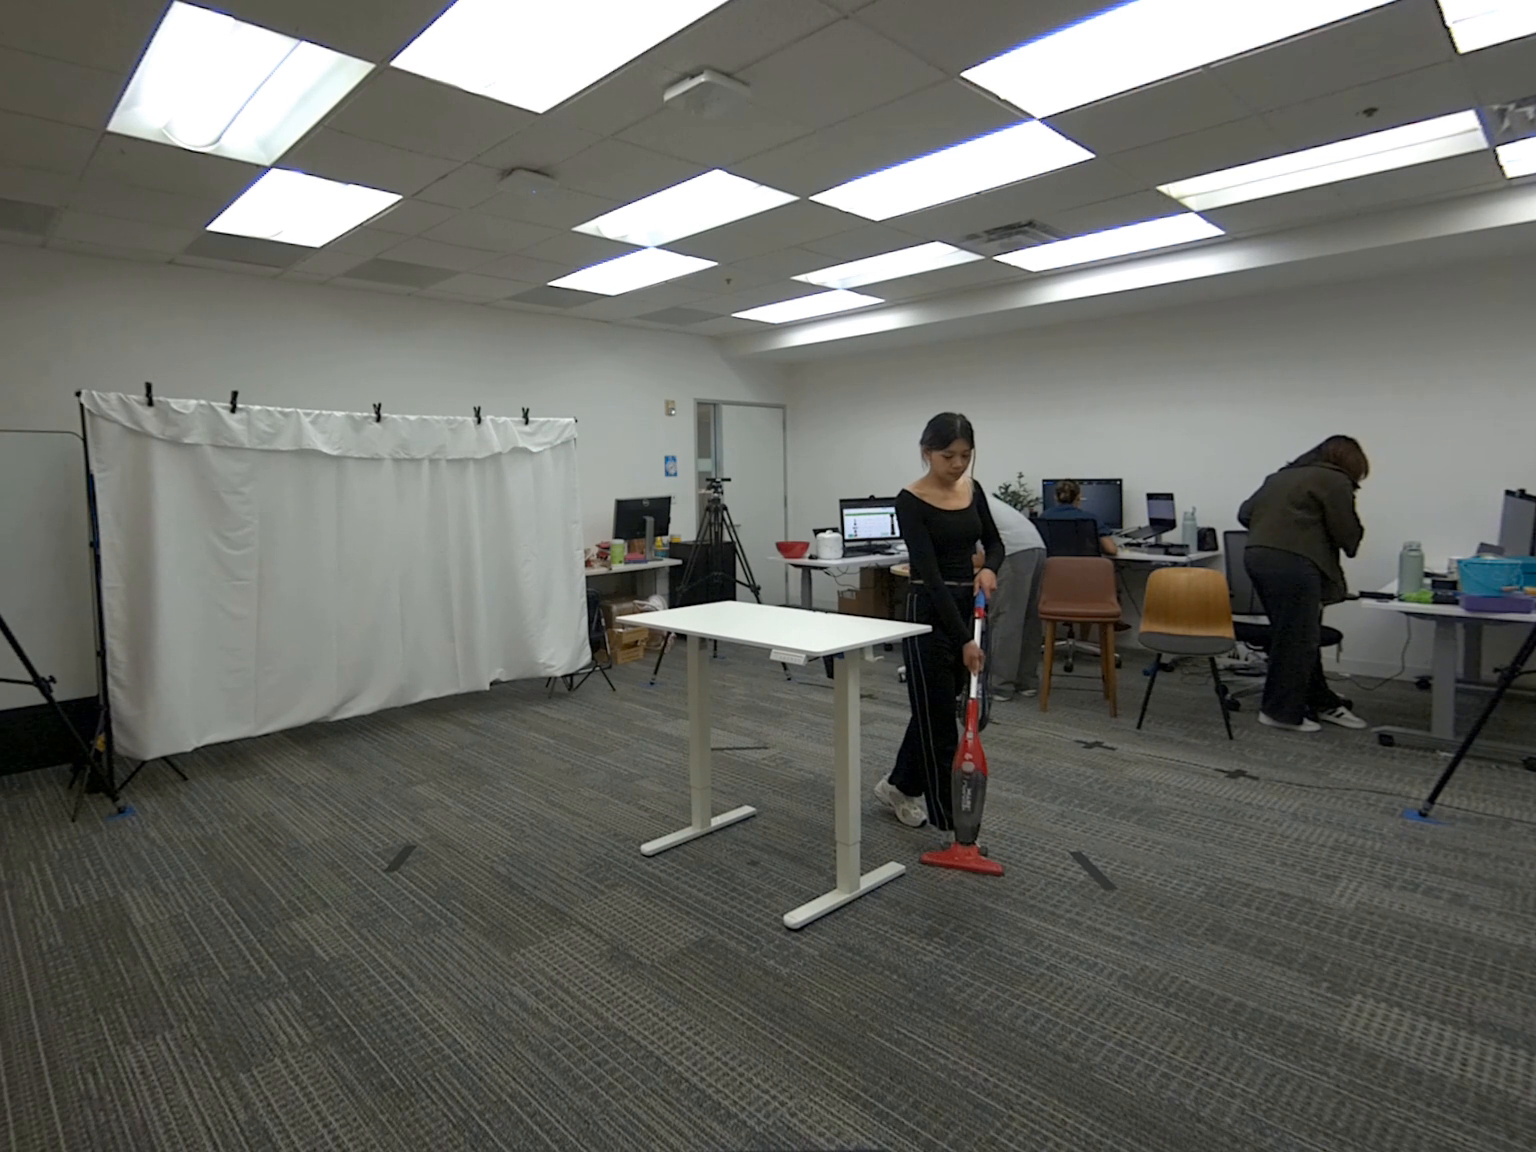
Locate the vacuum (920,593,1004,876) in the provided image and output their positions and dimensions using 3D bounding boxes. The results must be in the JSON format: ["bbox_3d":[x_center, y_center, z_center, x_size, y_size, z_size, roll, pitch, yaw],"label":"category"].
[{"bbox_3d":[0.704,0.441,2.875,0.258,1.066,0.138,-1,-30,25],"label":"vacuum"}]
